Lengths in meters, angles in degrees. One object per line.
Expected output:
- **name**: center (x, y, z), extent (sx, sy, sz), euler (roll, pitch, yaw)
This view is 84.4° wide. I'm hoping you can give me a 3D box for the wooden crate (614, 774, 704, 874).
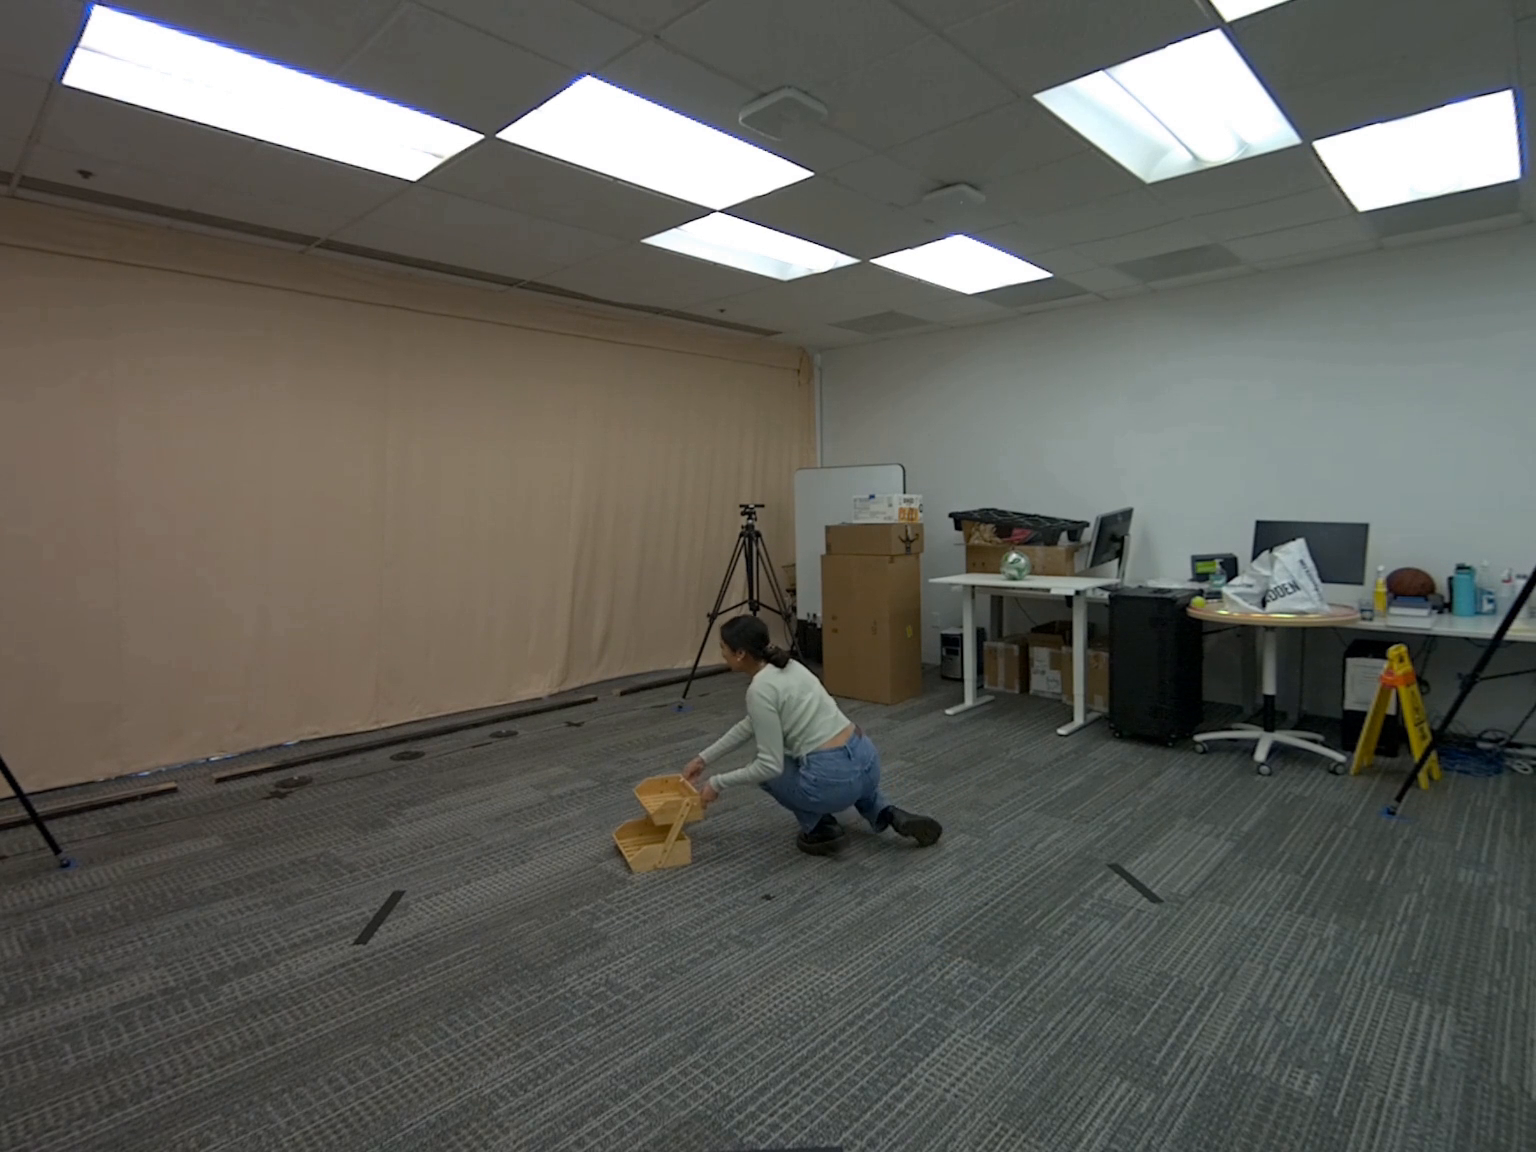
- **wooden crate**: center (-0.448, 0.981, 3.393), extent (0.296, 0.272, 0.332), euler (-3, 5, -22)
